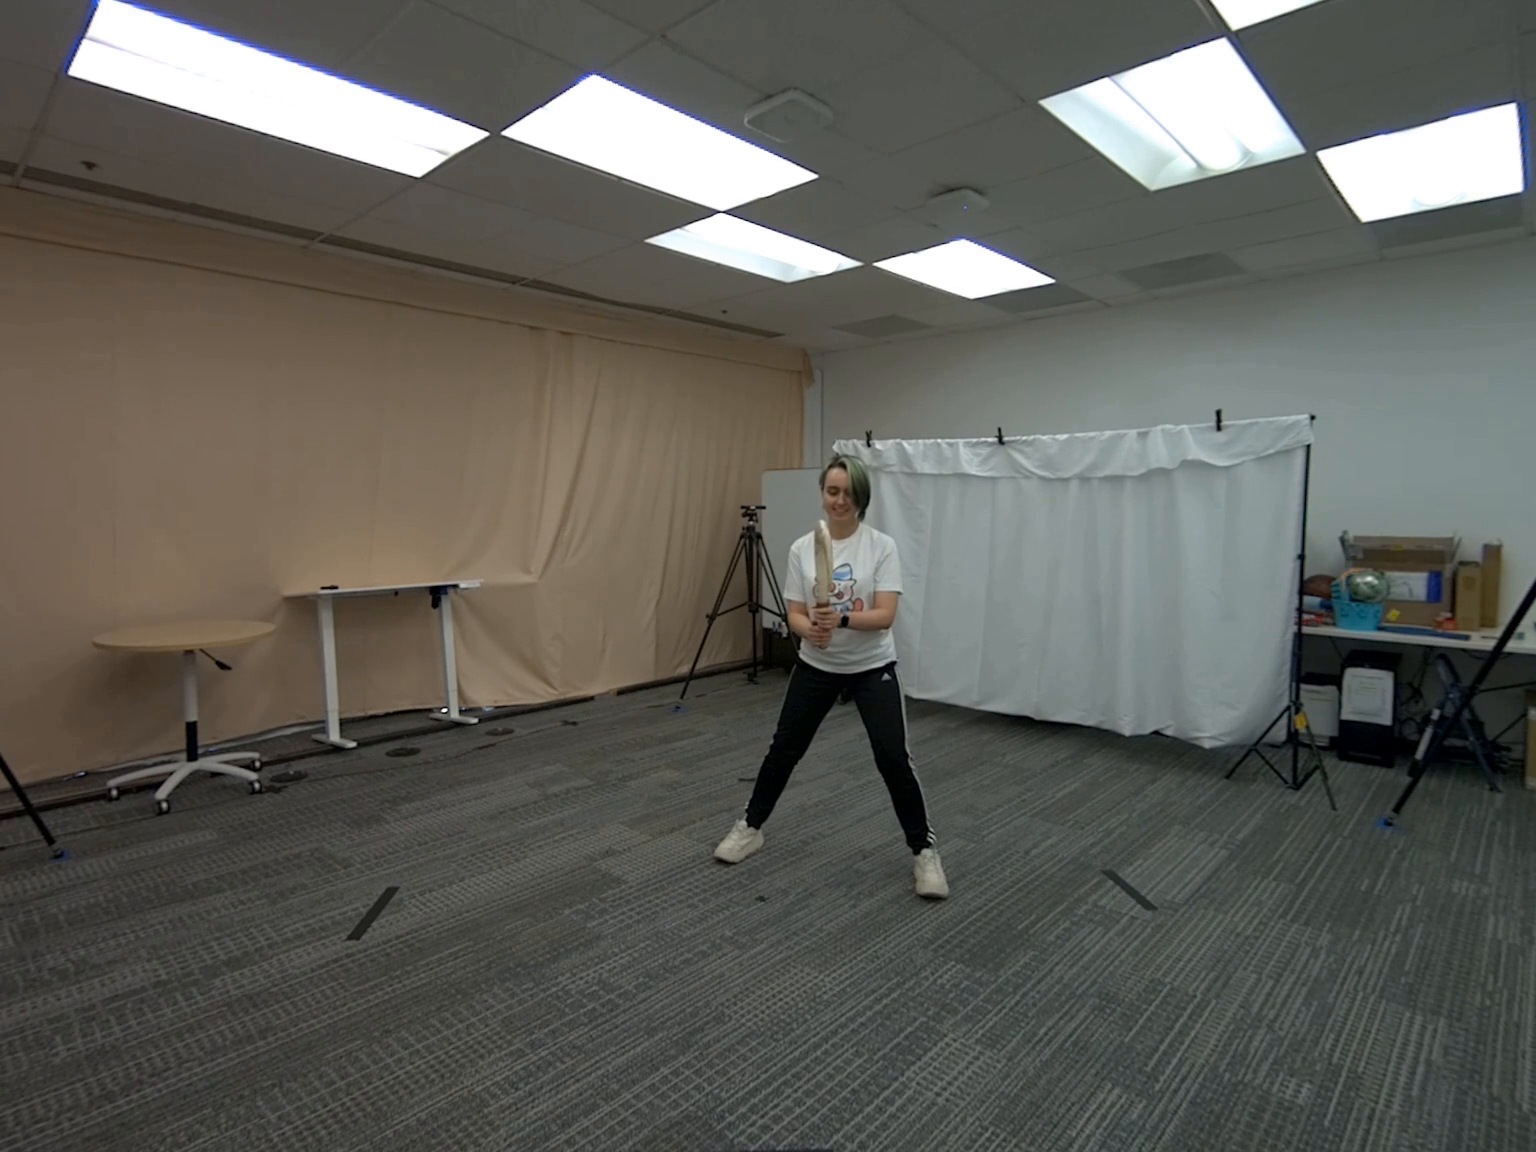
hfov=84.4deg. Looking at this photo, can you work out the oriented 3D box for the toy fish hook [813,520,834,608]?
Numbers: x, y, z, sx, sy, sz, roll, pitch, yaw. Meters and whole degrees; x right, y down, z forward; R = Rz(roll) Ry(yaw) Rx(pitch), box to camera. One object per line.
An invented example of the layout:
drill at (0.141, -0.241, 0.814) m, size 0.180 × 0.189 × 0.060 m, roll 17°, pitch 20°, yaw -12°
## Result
toy fish hook at (0.182, 0.059, 2.792) m, size 0.048 × 0.498 × 0.229 m, roll -5°, pitch 29°, yaw -3°
